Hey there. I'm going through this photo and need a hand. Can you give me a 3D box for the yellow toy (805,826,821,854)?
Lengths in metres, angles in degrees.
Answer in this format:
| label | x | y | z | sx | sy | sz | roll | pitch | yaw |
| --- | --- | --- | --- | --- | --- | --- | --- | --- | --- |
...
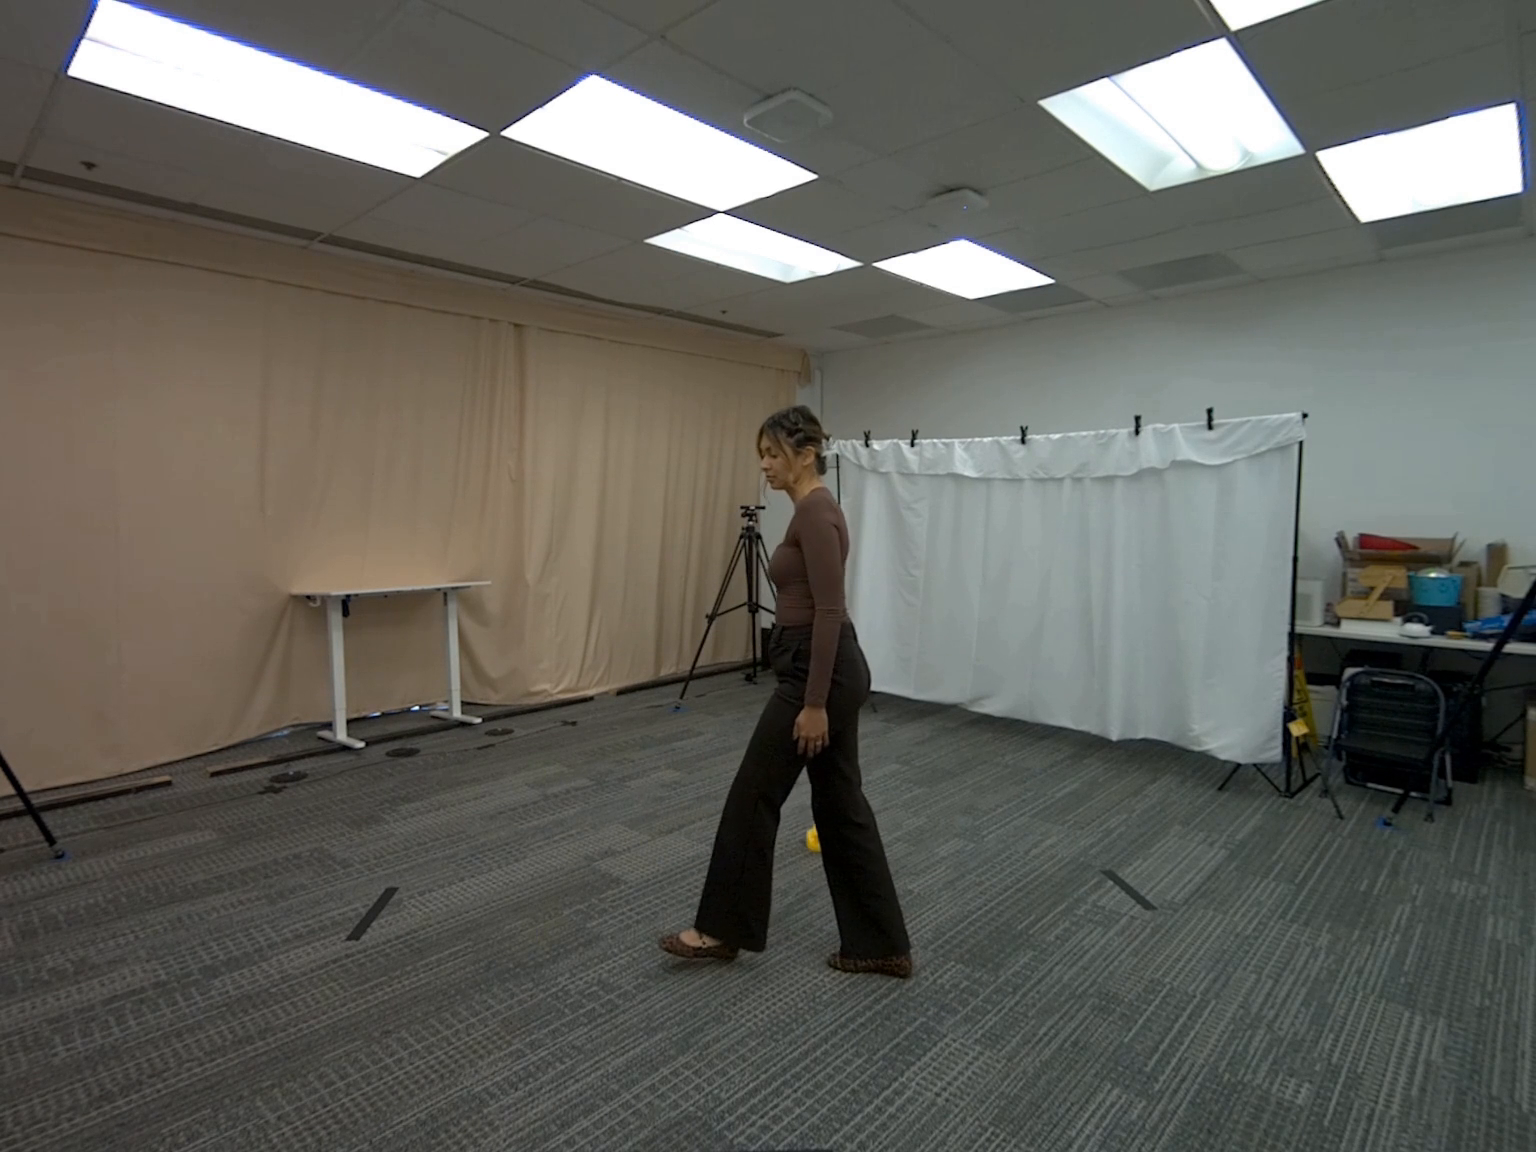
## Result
| label | x | y | z | sx | sy | sz | roll | pitch | yaw |
| --- | --- | --- | --- | --- | --- | --- | --- | --- | --- |
| yellow toy | 0.264 | 0.988 | 3.447 | 0.203 | 0.230 | 0.195 | 1 | 4 | -6 |
